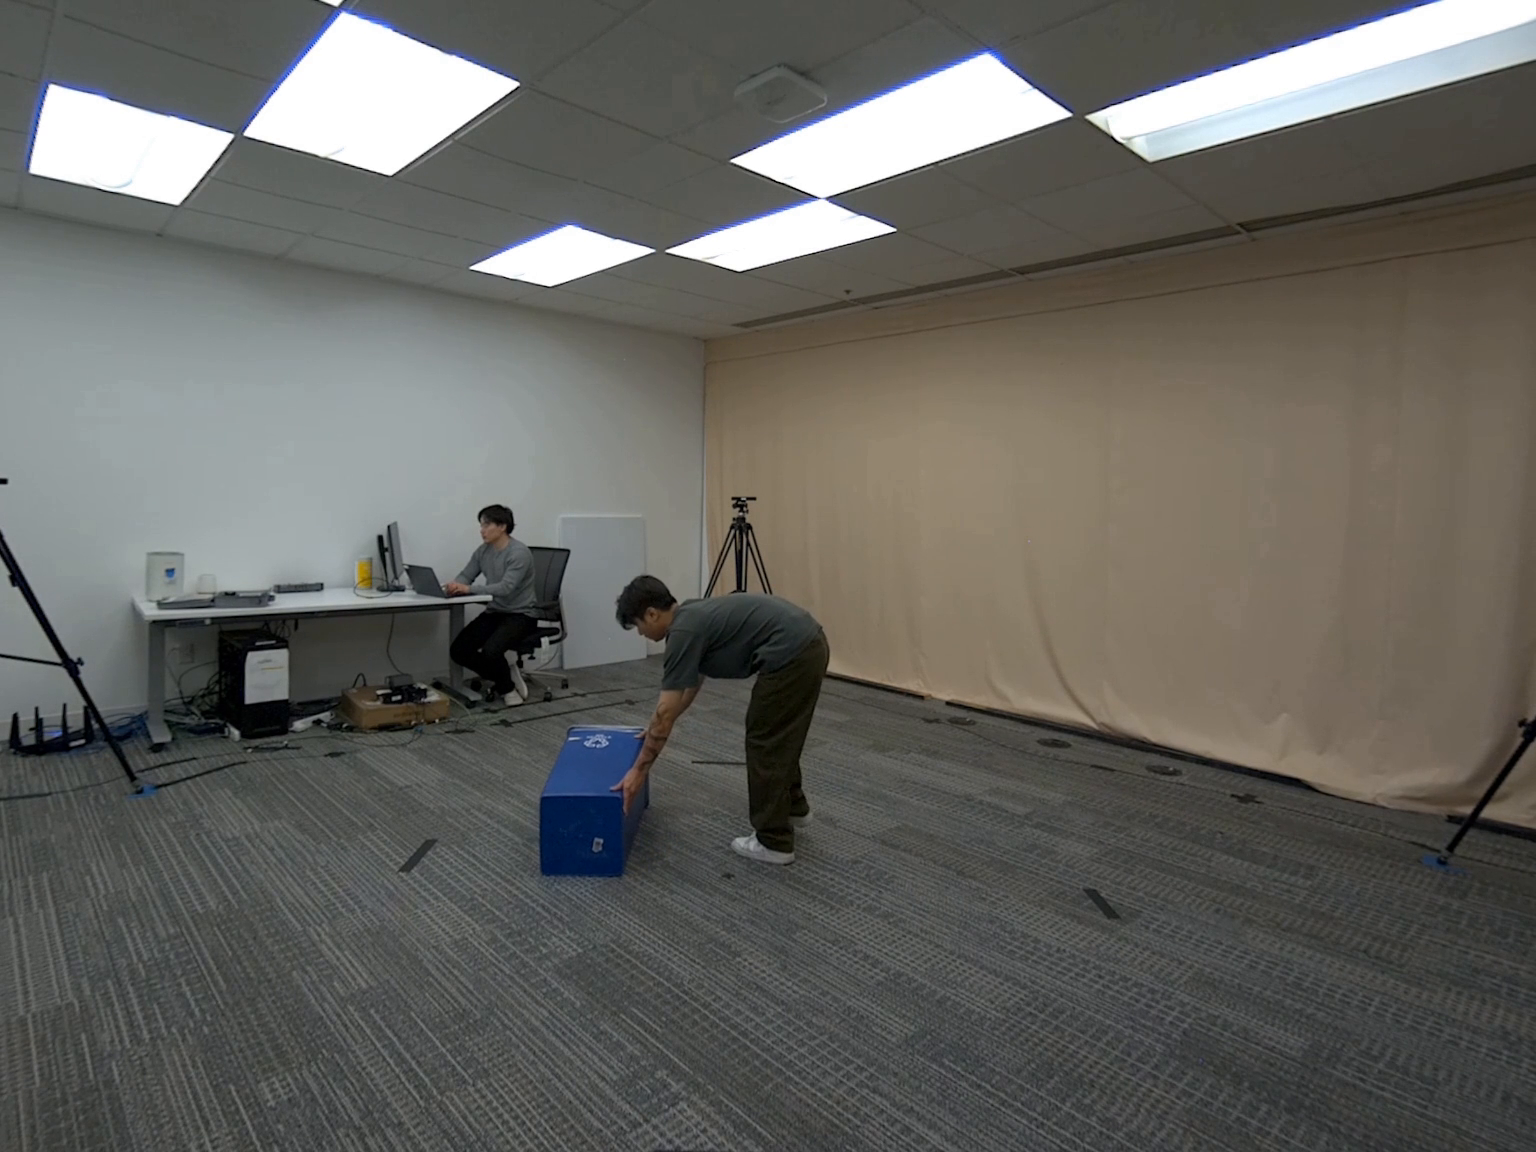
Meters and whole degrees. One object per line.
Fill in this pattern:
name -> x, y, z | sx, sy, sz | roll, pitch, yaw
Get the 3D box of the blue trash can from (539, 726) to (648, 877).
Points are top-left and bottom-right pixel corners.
blue trash can -> -0.699, 0.890, 3.409 | 0.377, 0.372, 0.718 | 2, 6, -3
